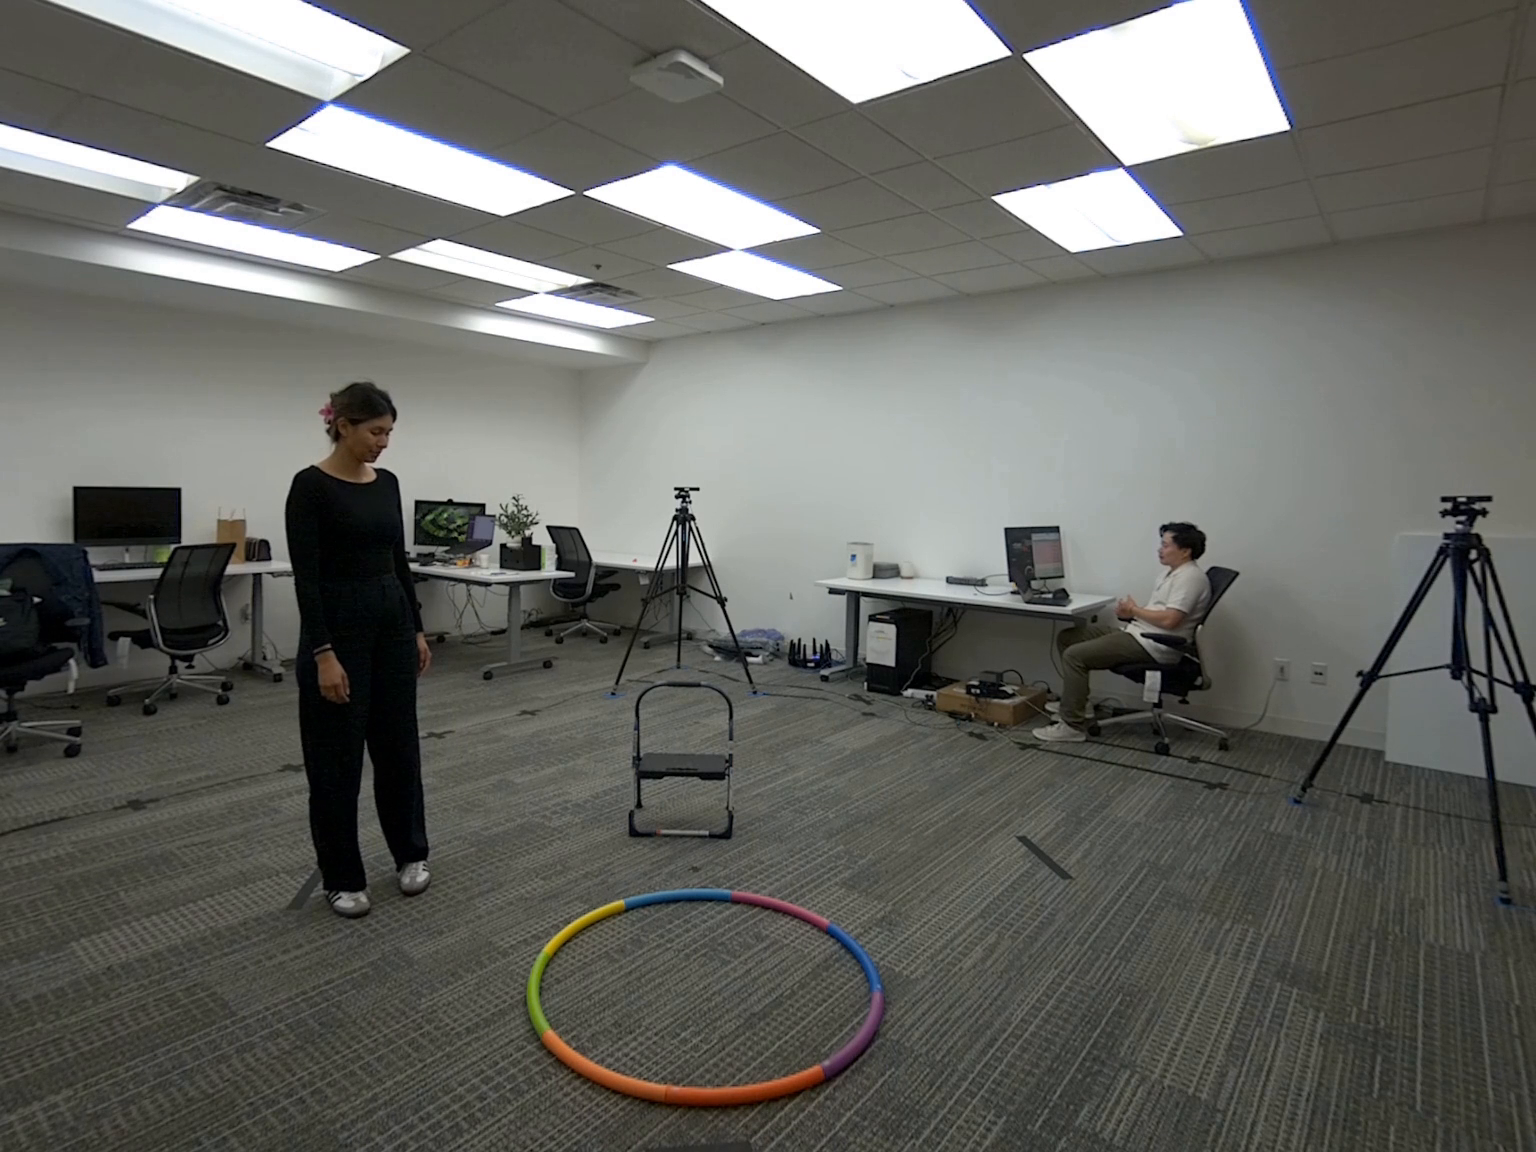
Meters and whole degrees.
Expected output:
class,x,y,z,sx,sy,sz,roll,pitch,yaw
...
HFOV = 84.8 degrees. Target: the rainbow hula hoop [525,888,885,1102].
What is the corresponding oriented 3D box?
class,x,y,z,sx,sy,sz,roll,pitch,yaw
rainbow hula hoop,-0.182,1.102,2.403,0.978,0.035,0.984,1,6,-2
